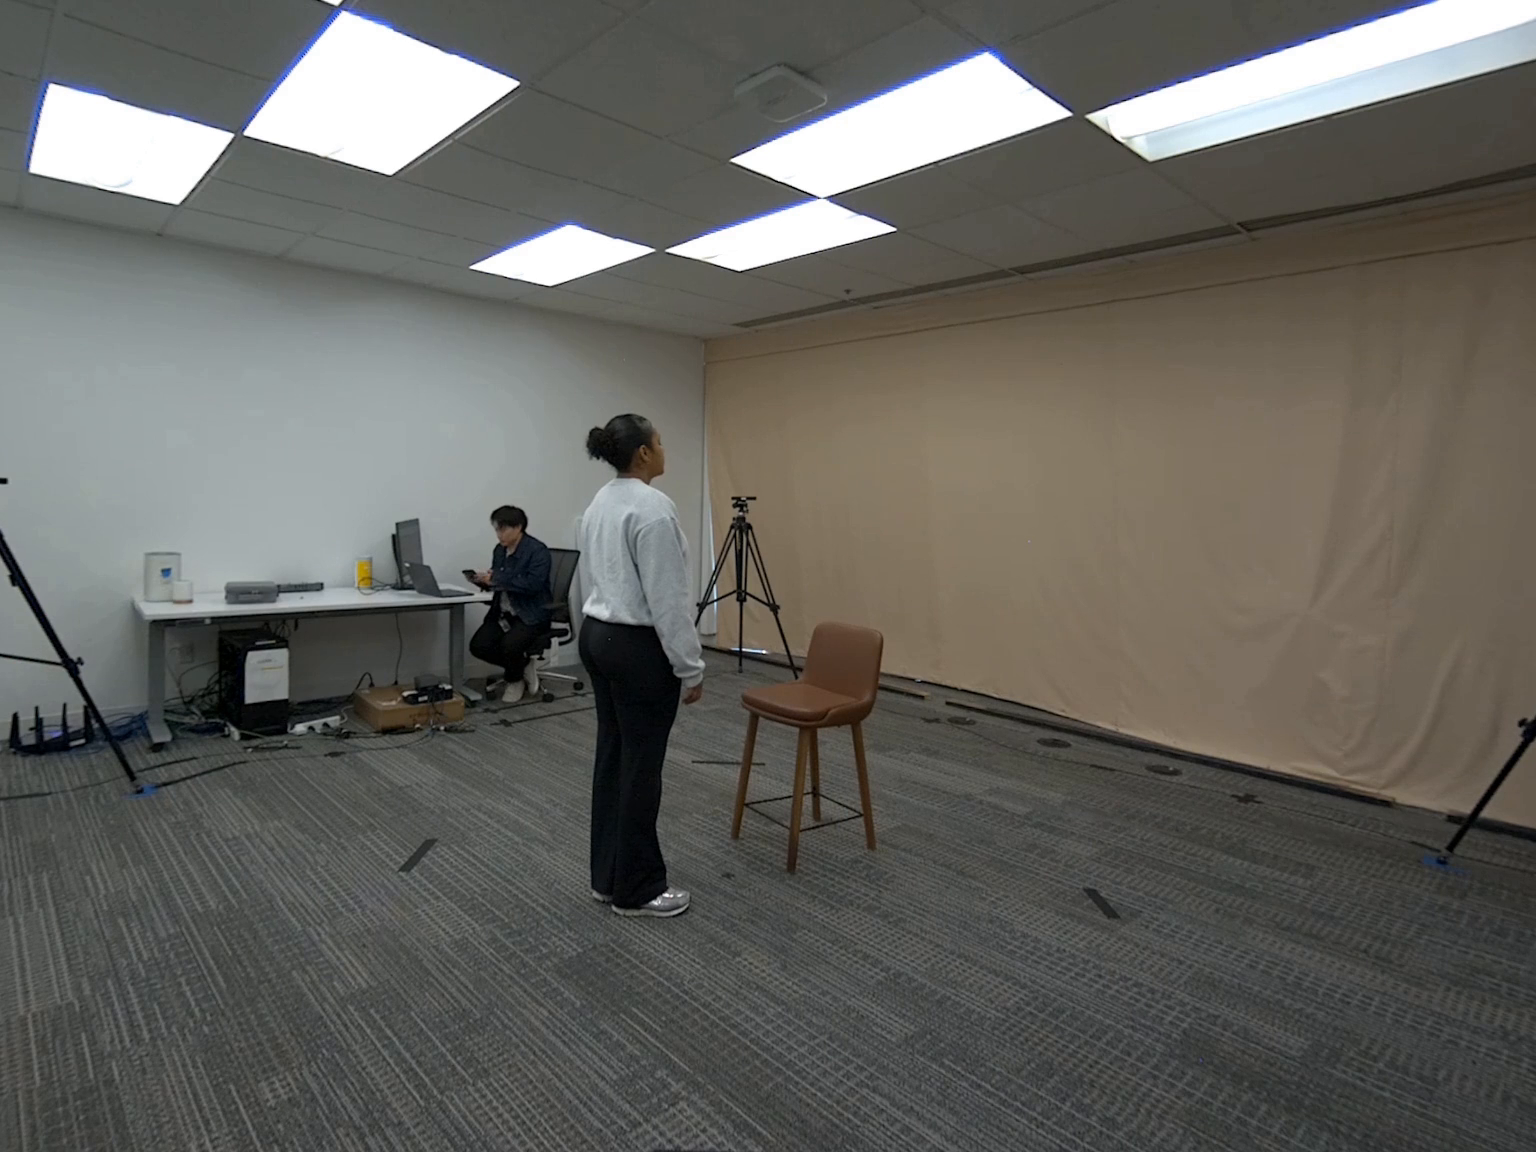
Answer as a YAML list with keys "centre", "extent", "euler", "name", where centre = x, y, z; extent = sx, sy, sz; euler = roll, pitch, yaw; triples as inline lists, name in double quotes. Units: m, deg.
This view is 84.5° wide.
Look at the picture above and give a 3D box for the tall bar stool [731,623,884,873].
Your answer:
- centre: [0.157, 0.652, 3.397]
  extent: [0.457, 0.889, 0.467]
  euler: [2, 2, -35]
  name: "tall bar stool"
